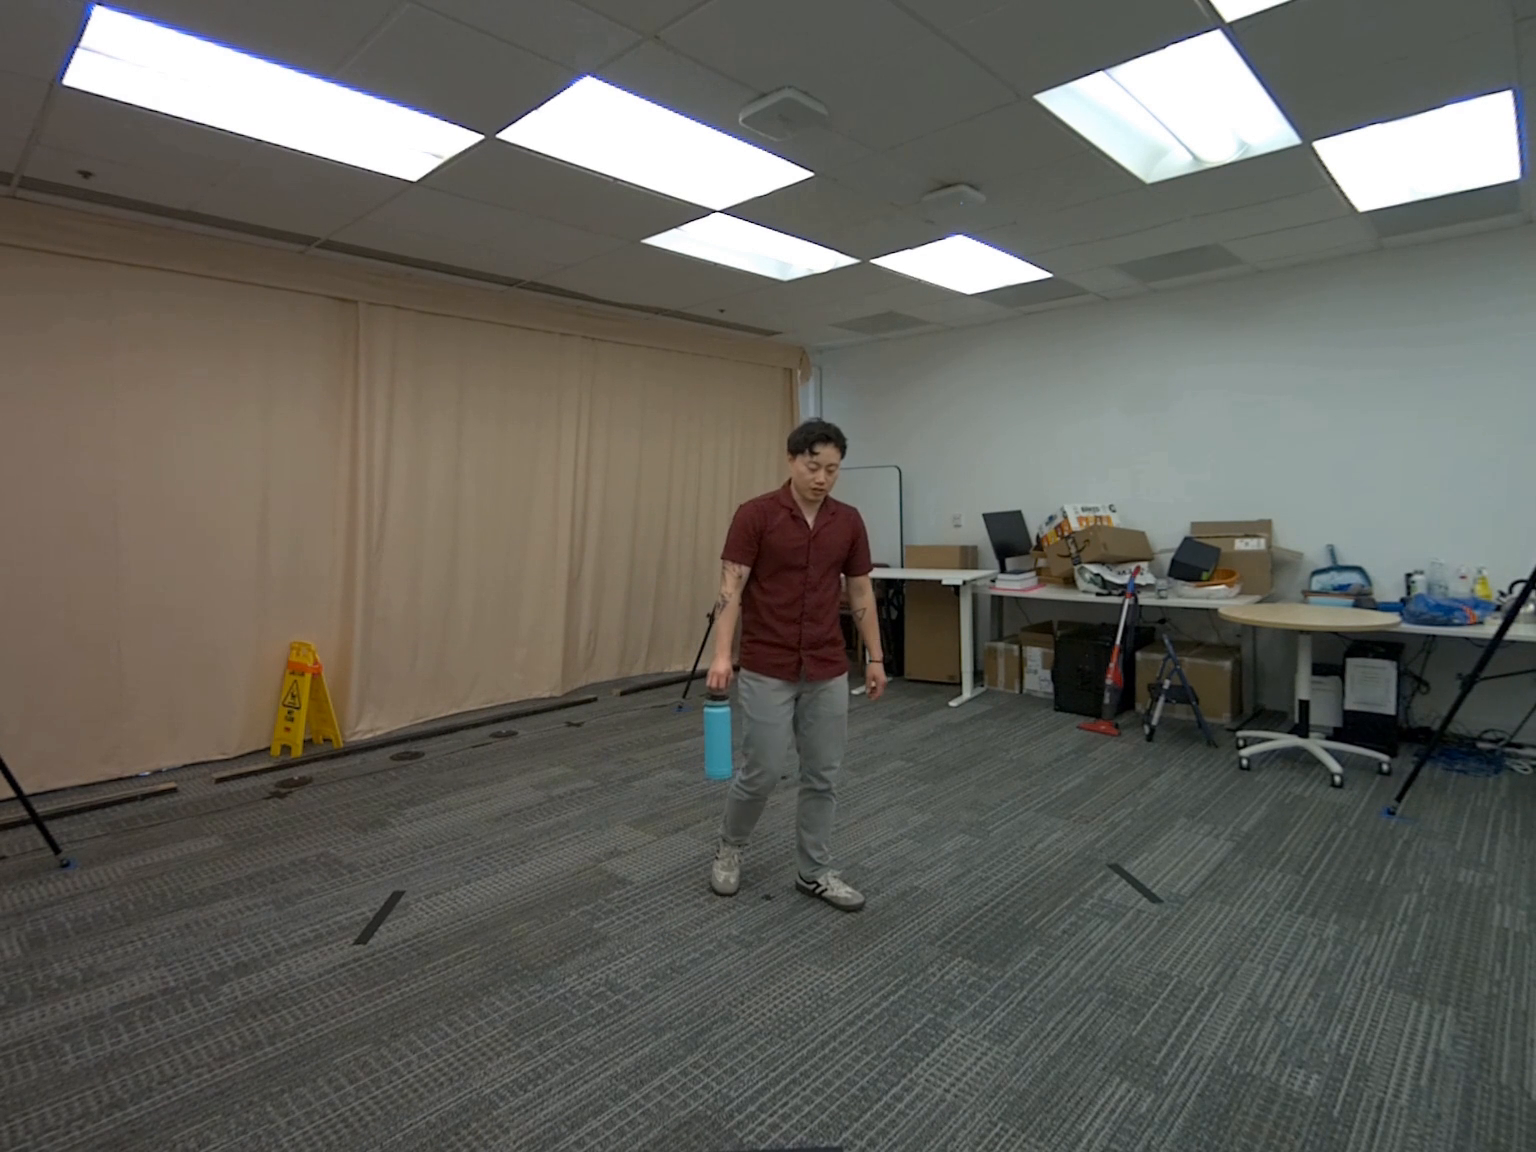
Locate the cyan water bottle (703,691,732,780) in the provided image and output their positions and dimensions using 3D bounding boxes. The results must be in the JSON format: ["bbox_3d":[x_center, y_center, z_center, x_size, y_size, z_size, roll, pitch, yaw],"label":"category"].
[{"bbox_3d":[-0.158,0.512,2.741,0.092,0.284,0.092,-2,-1,-2],"label":"cyan water bottle"}]
